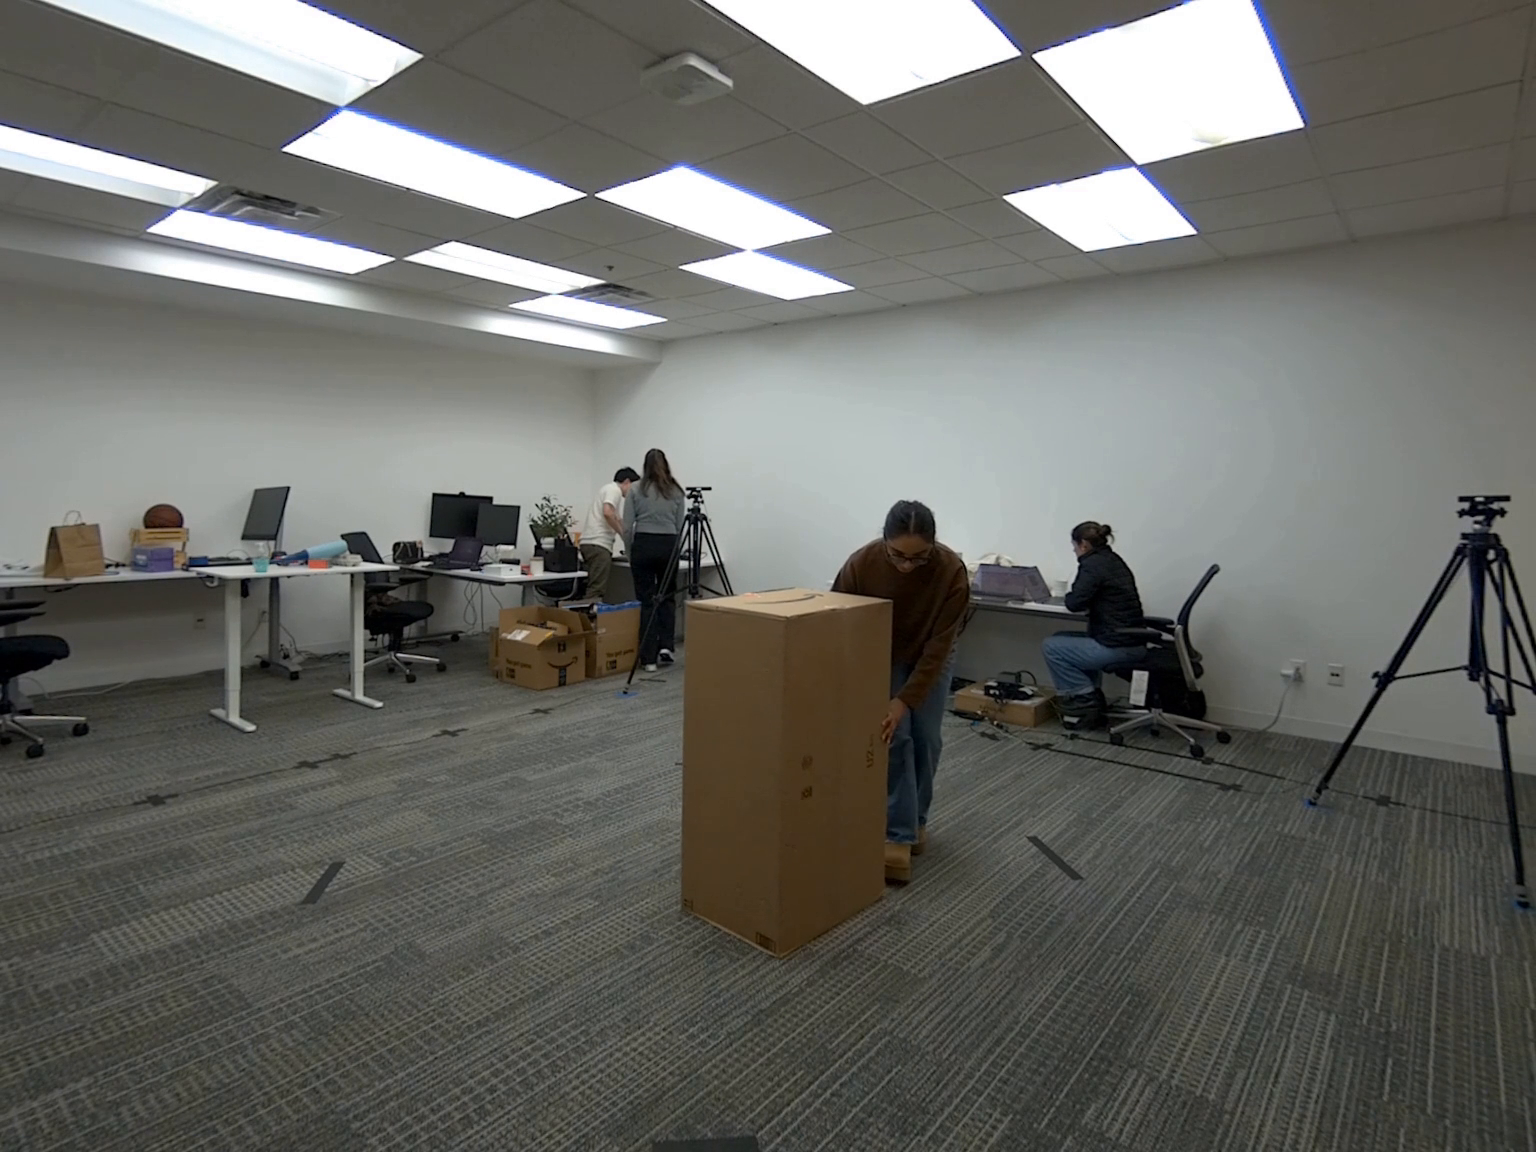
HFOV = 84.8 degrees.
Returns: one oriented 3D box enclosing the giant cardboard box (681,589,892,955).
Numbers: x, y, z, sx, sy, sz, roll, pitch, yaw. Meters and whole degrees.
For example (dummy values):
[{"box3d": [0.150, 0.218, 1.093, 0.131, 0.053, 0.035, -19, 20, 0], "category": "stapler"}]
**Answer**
[{"box3d": [0.056, 0.591, 2.824, 0.441, 1.022, 0.560, 4, 5, 42], "category": "giant cardboard box"}]
